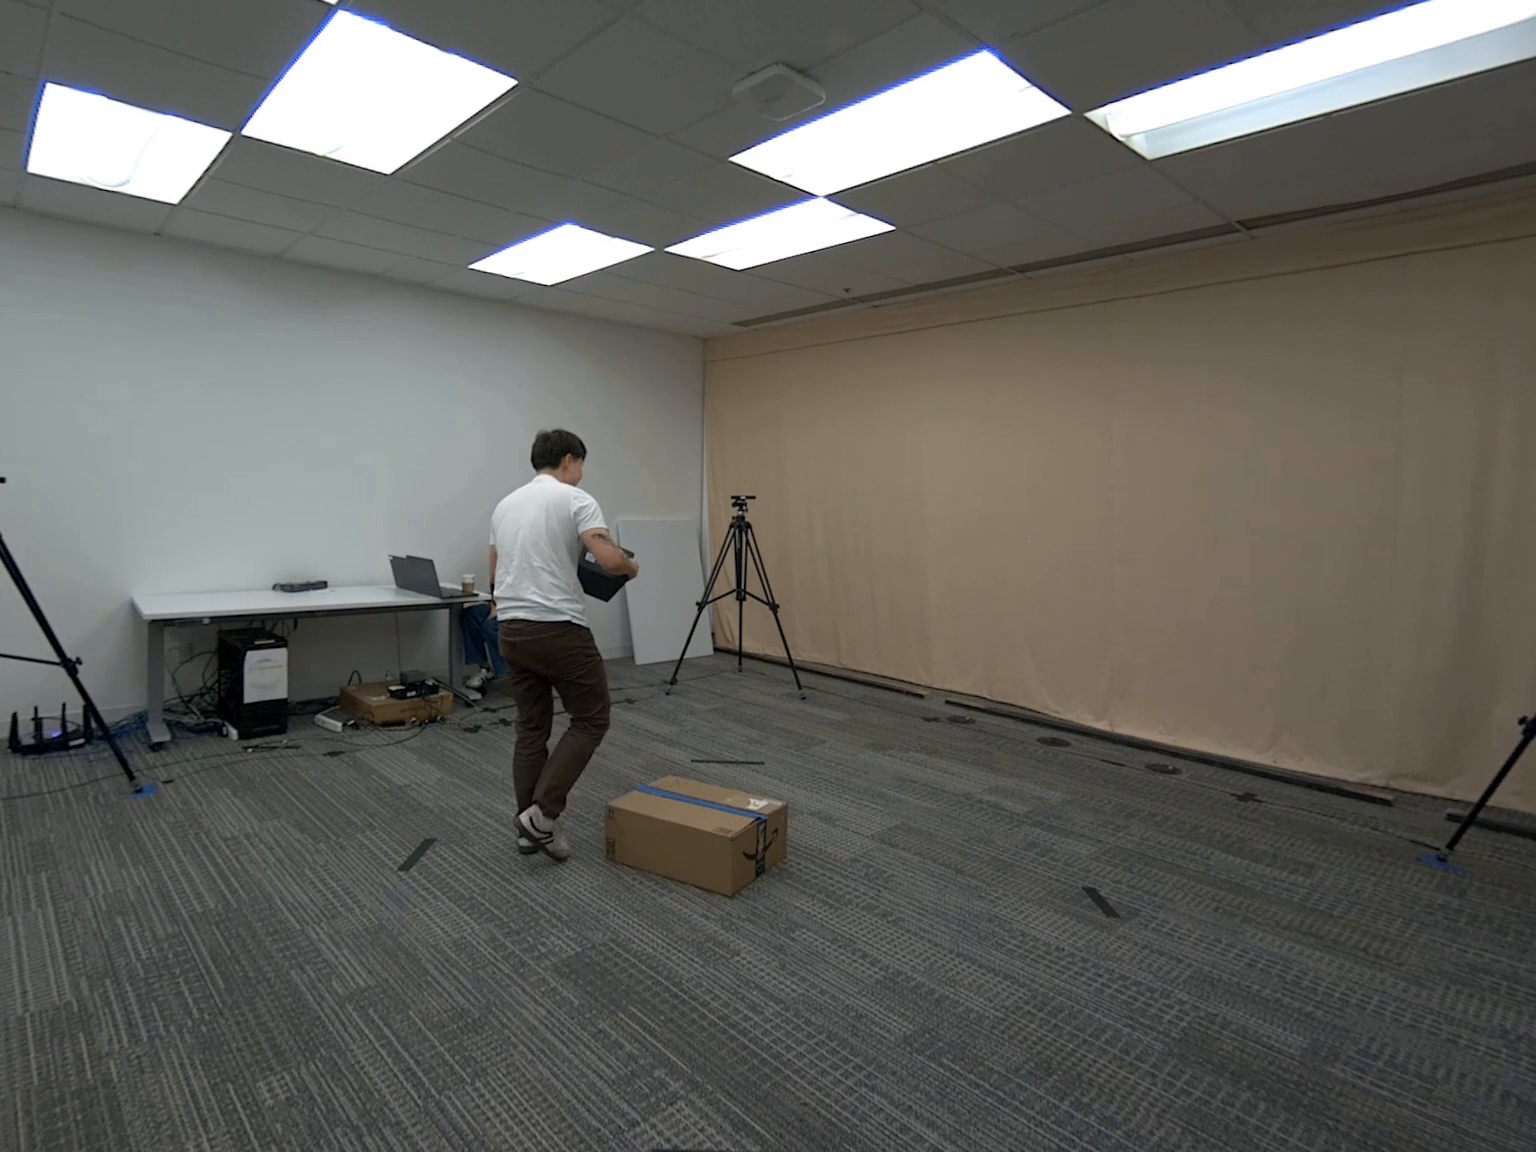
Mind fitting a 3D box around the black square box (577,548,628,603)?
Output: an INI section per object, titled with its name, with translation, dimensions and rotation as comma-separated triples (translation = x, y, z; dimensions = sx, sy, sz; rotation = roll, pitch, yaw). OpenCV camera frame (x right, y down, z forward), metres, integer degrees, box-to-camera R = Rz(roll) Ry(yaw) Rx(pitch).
[black square box]
translation = -0.728, -0.027, 3.560
dimensions = 0.213, 0.158, 0.229
rotation = 25, -32, -18
